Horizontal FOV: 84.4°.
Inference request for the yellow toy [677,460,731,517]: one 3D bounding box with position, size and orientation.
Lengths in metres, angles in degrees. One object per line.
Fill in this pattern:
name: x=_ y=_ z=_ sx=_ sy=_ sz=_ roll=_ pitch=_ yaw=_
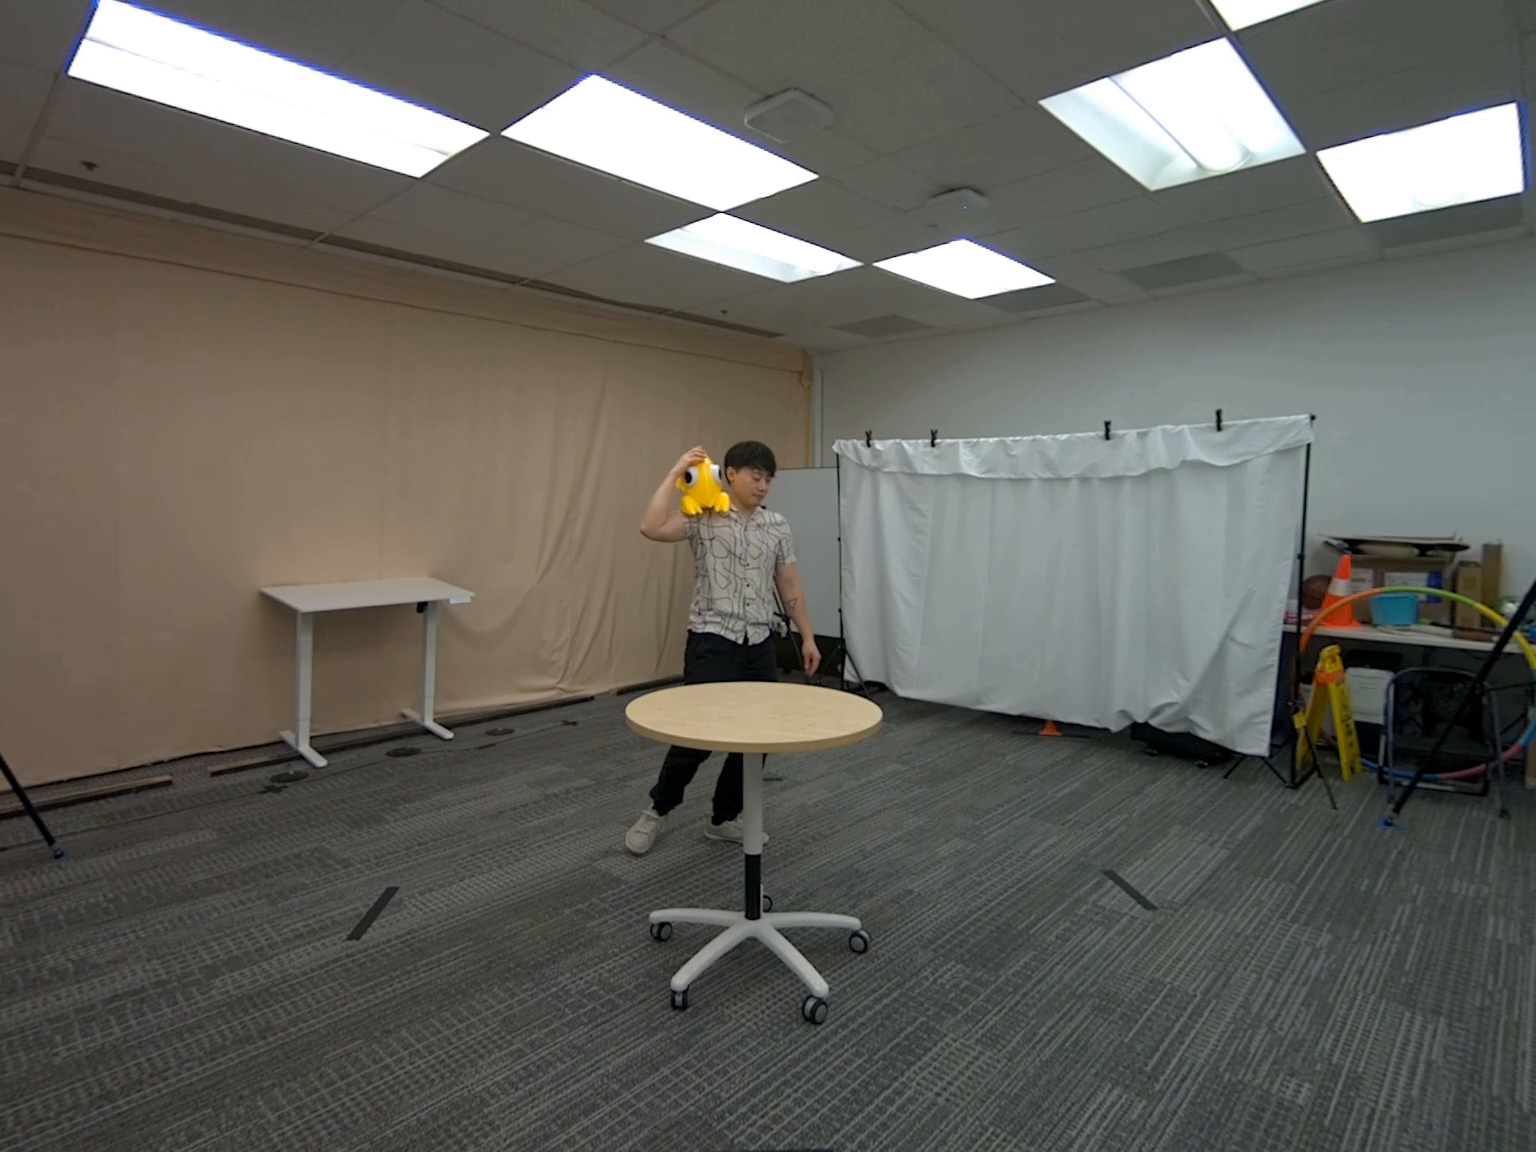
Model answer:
yellow toy: x=-0.252 y=-0.381 z=3.314 sx=0.202 sy=0.228 sz=0.198 roll=-6 pitch=18 yaw=-15
